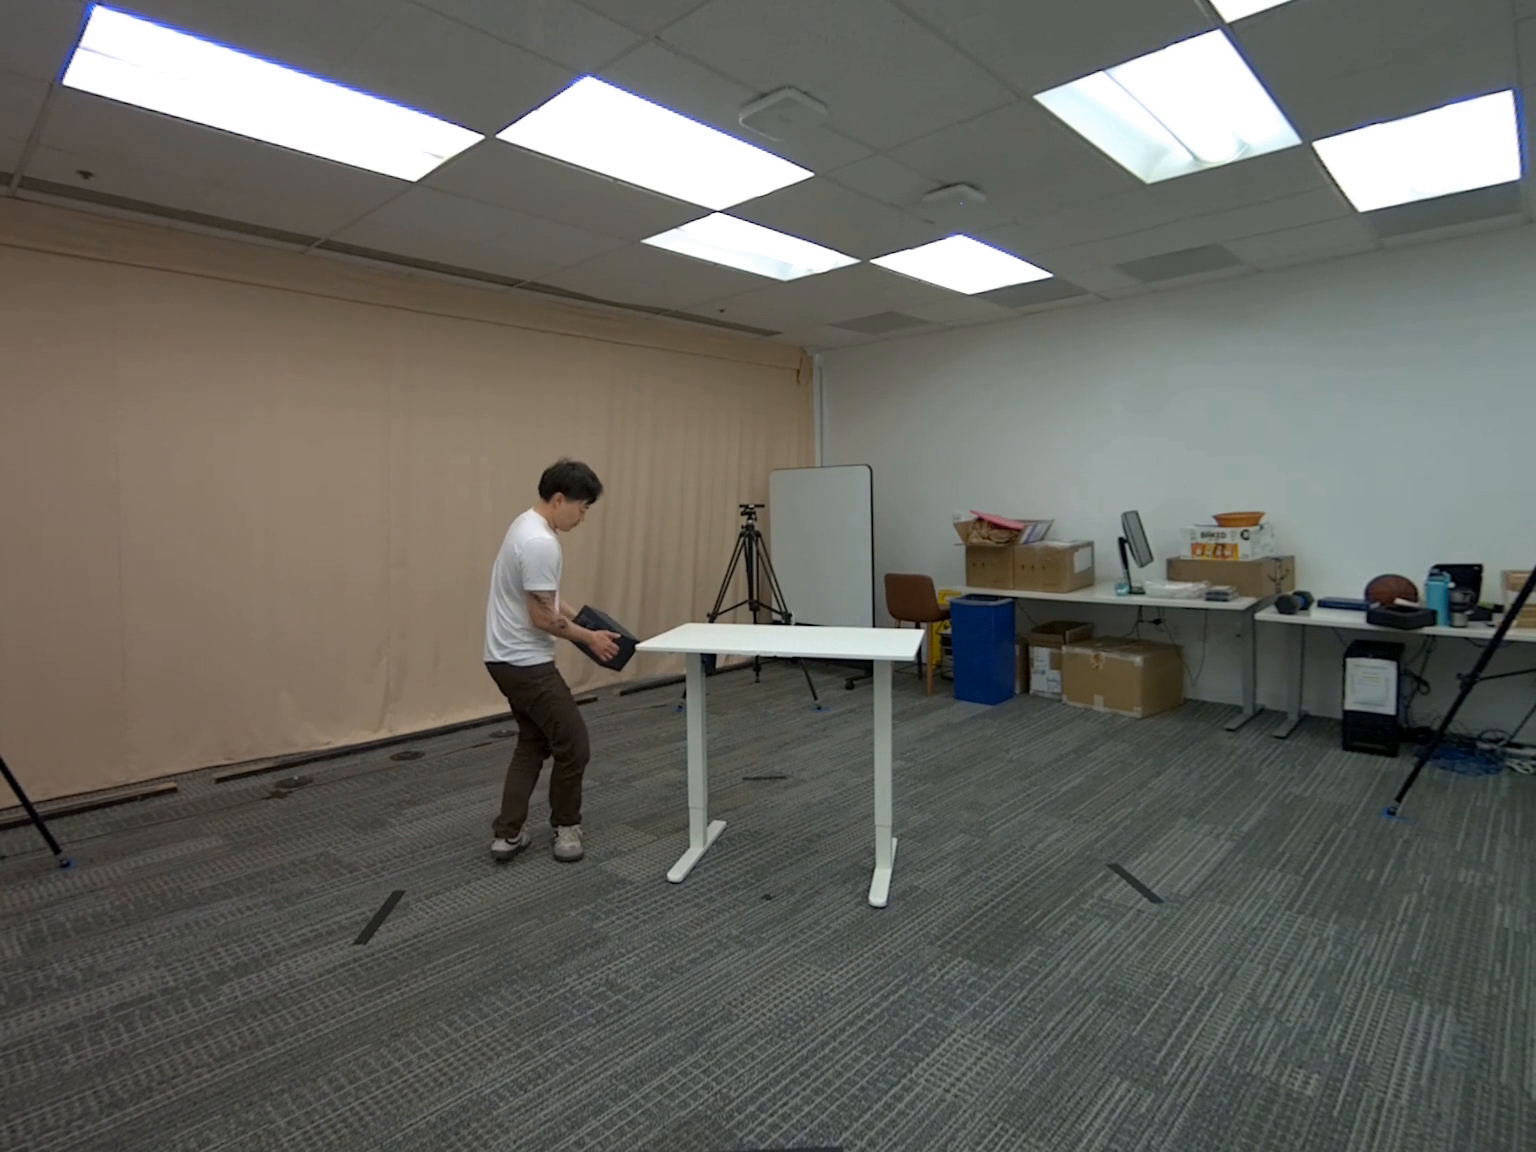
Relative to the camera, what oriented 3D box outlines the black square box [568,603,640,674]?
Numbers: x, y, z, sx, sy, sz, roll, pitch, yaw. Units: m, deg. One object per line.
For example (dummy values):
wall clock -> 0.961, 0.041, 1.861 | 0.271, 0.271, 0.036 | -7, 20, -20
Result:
black square box -> -0.692, 0.256, 3.474 | 0.222, 0.156, 0.223 | 36, -4, 18
